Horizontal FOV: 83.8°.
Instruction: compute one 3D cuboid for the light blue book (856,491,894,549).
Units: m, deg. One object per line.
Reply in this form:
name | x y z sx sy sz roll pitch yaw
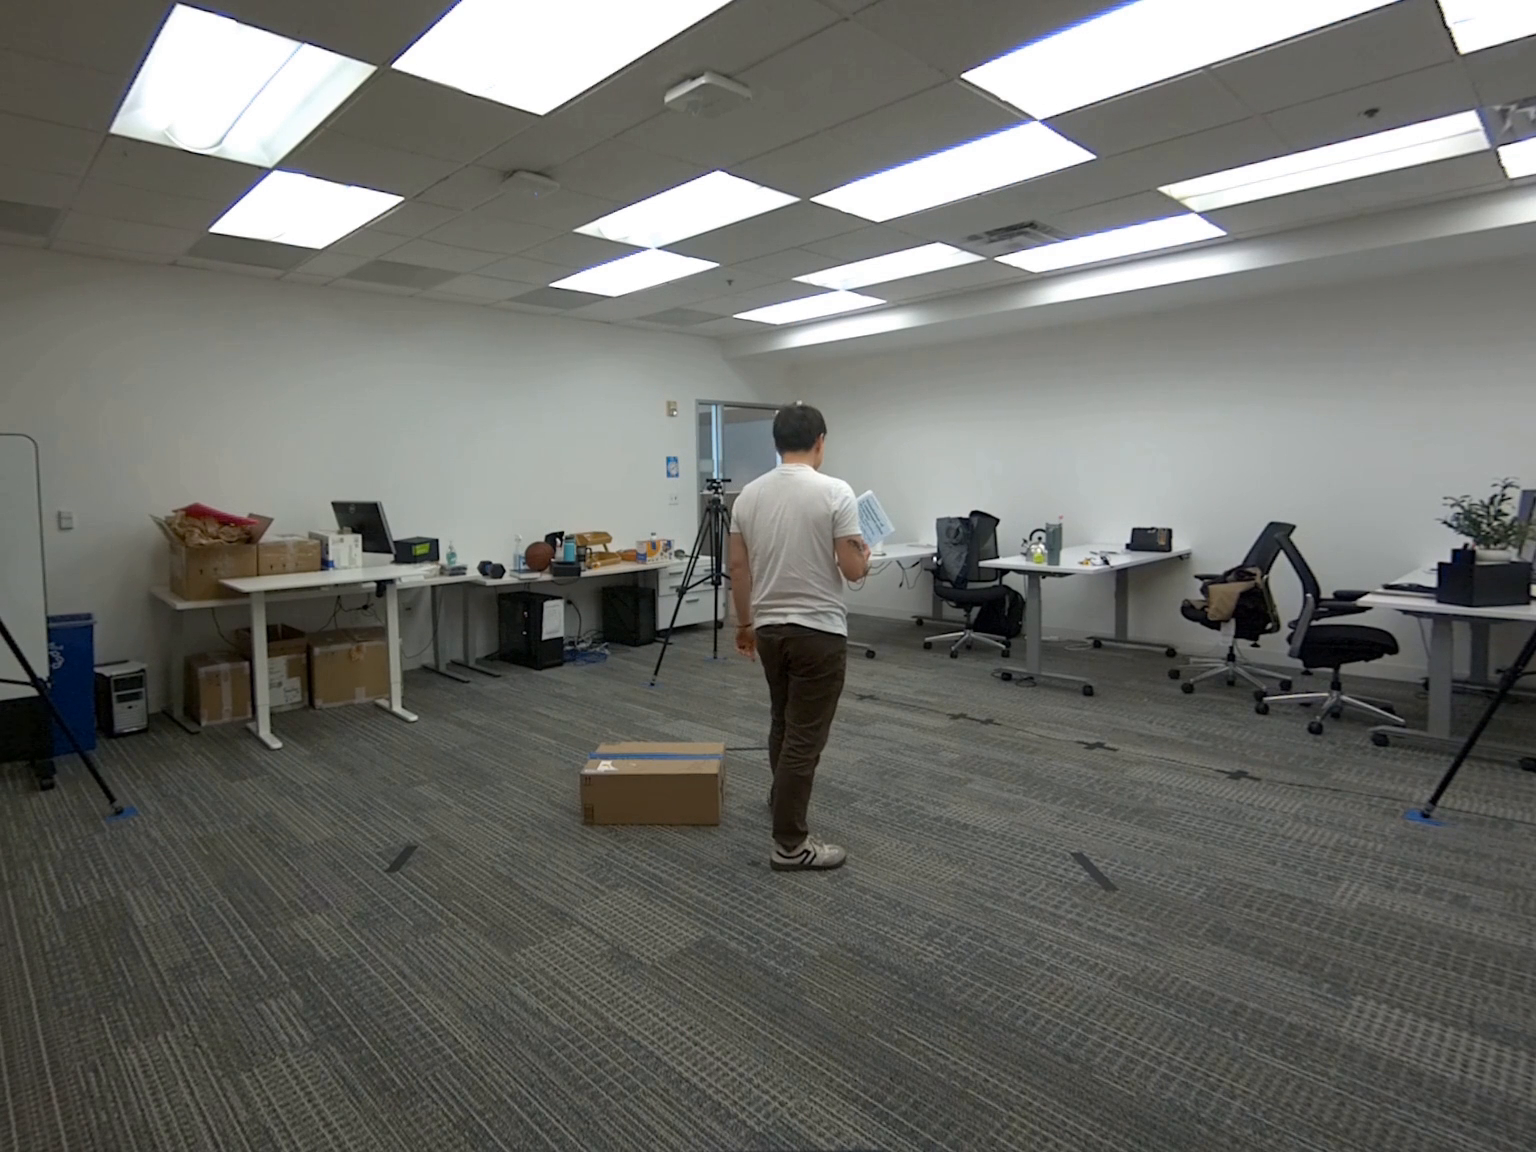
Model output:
light blue book | 0.345 -0.193 3.274 0.258 0.191 0.059 -33 0 -36
